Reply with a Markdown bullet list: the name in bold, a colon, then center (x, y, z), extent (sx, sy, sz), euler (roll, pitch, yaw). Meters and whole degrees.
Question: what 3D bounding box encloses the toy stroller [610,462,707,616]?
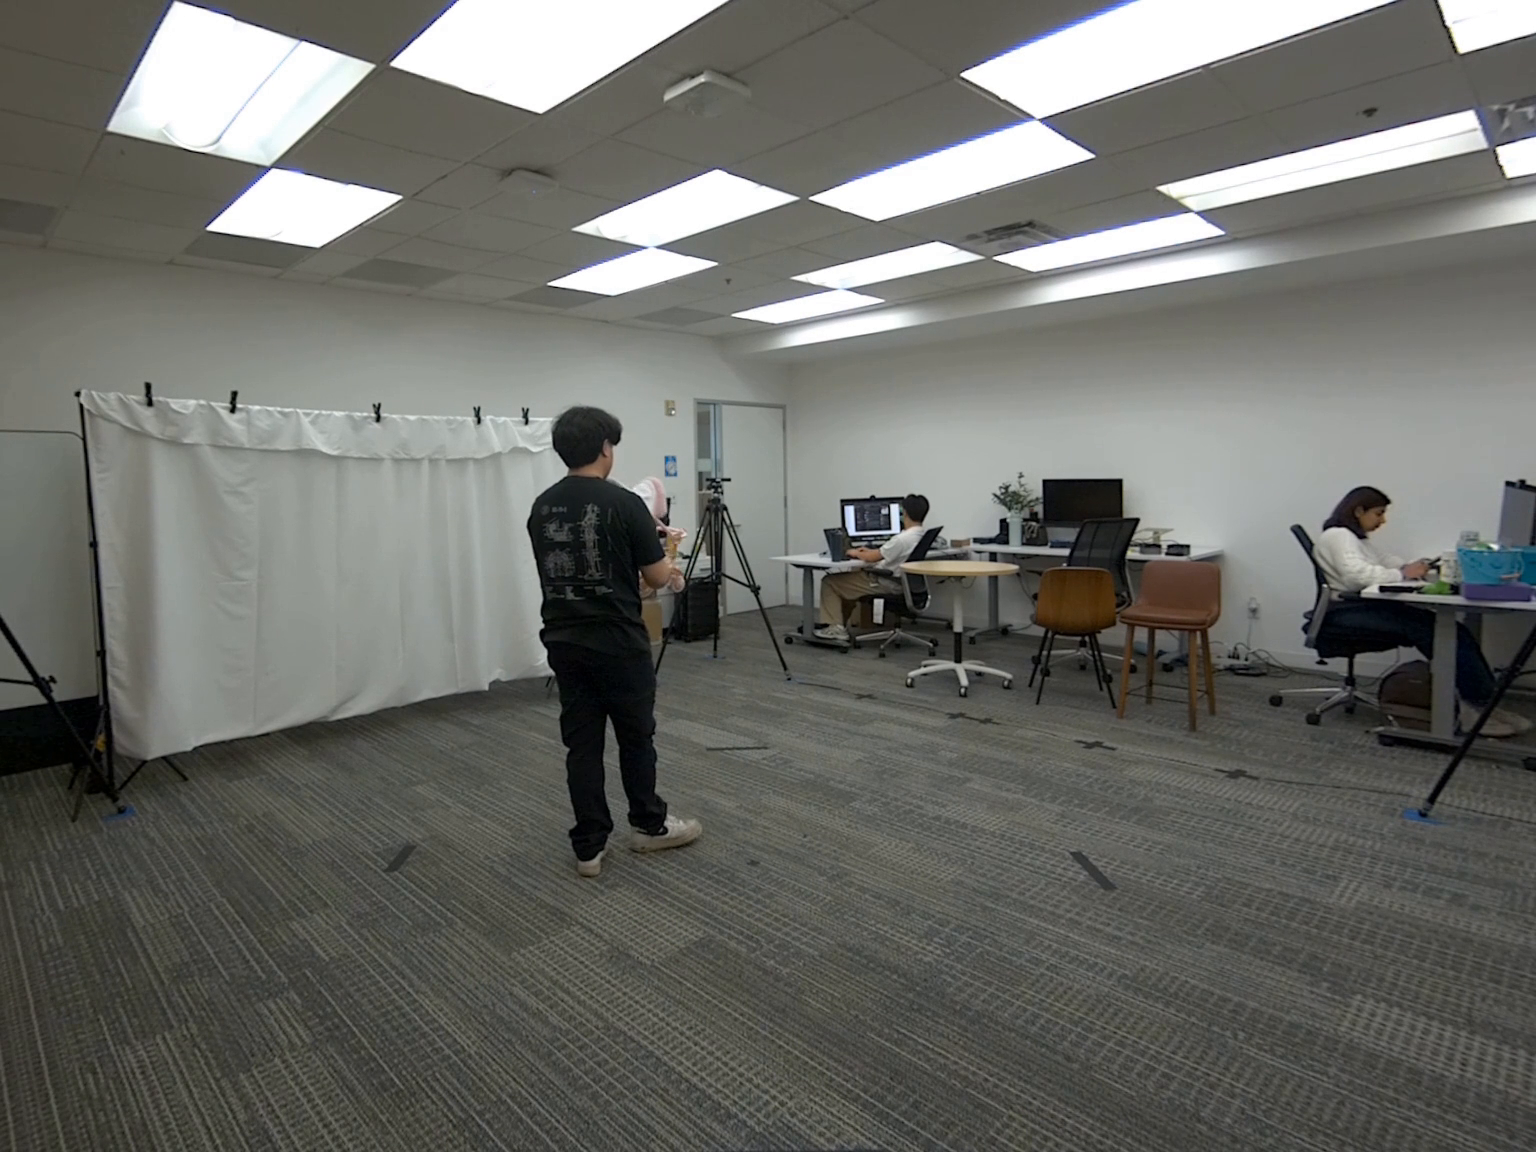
- **toy stroller**: center (-0.481, -0.158, 3.447), extent (0.334, 0.528, 0.291), euler (-12, 18, -34)
